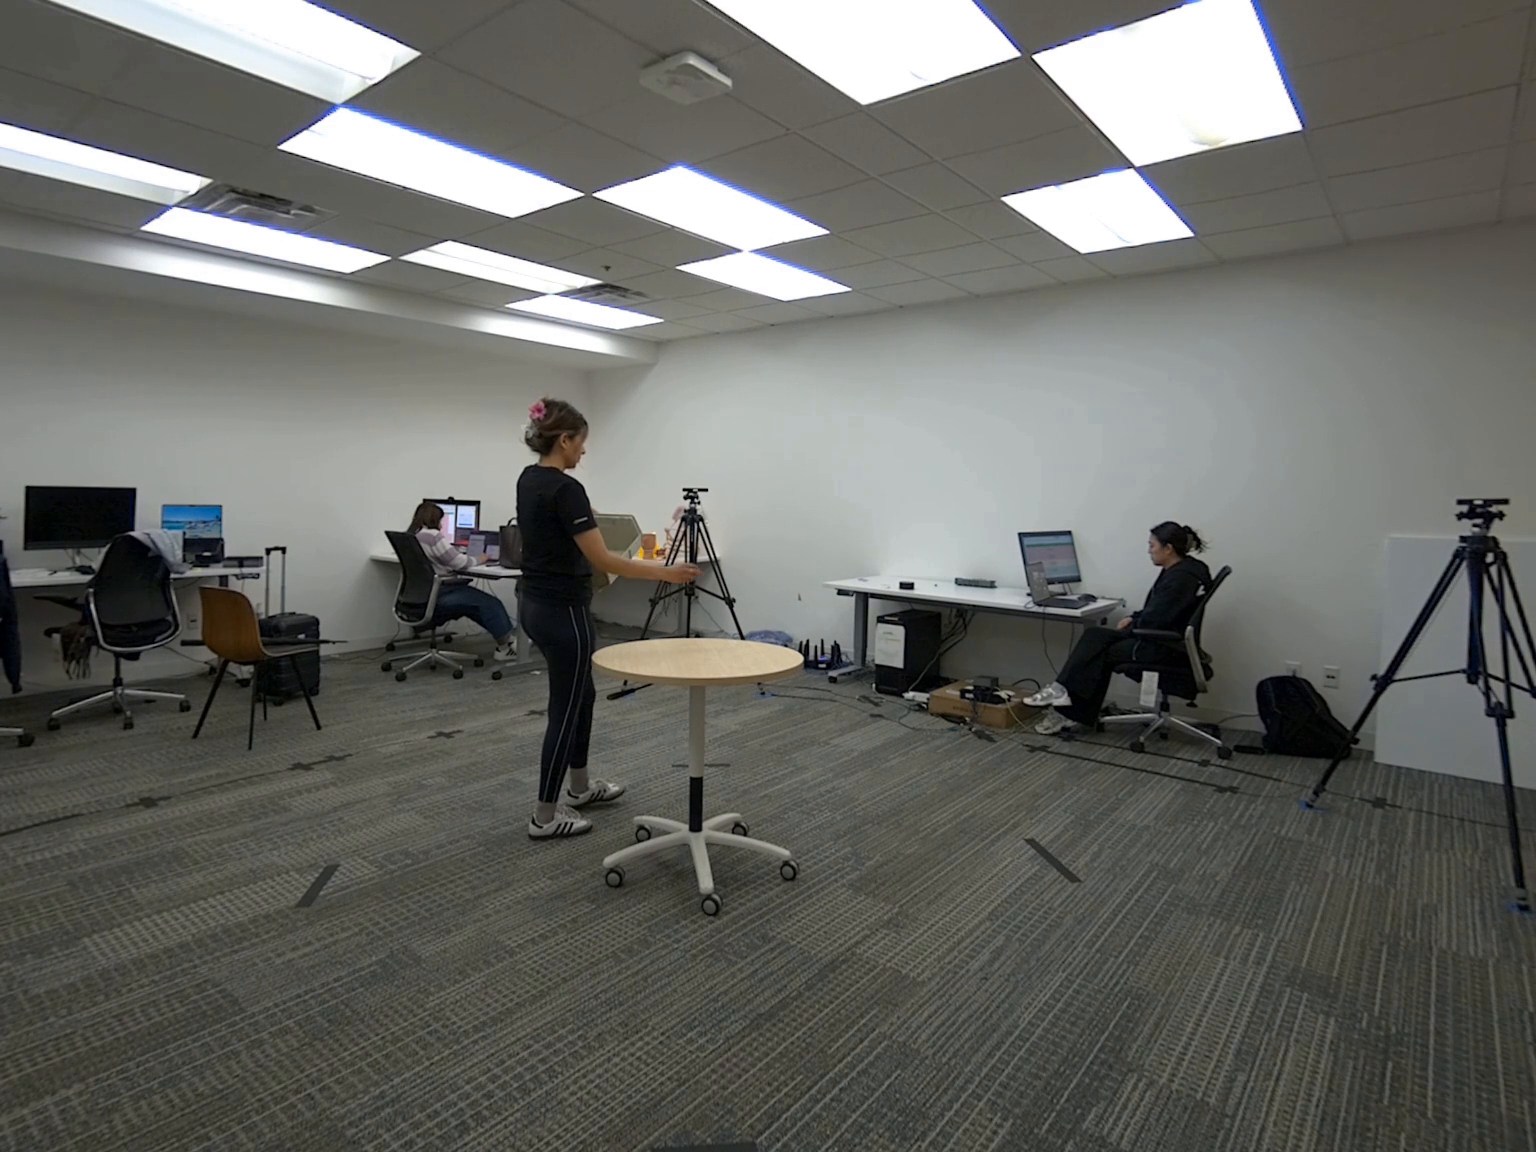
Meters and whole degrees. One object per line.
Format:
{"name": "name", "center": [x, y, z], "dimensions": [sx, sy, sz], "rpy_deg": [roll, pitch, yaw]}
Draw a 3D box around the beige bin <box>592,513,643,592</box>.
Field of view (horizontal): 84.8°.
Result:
{"name": "beige bin", "center": [-0.787, -0.110, 3.656], "dimensions": [0.383, 0.184, 0.425], "rpy_deg": [1, 26, 14]}
